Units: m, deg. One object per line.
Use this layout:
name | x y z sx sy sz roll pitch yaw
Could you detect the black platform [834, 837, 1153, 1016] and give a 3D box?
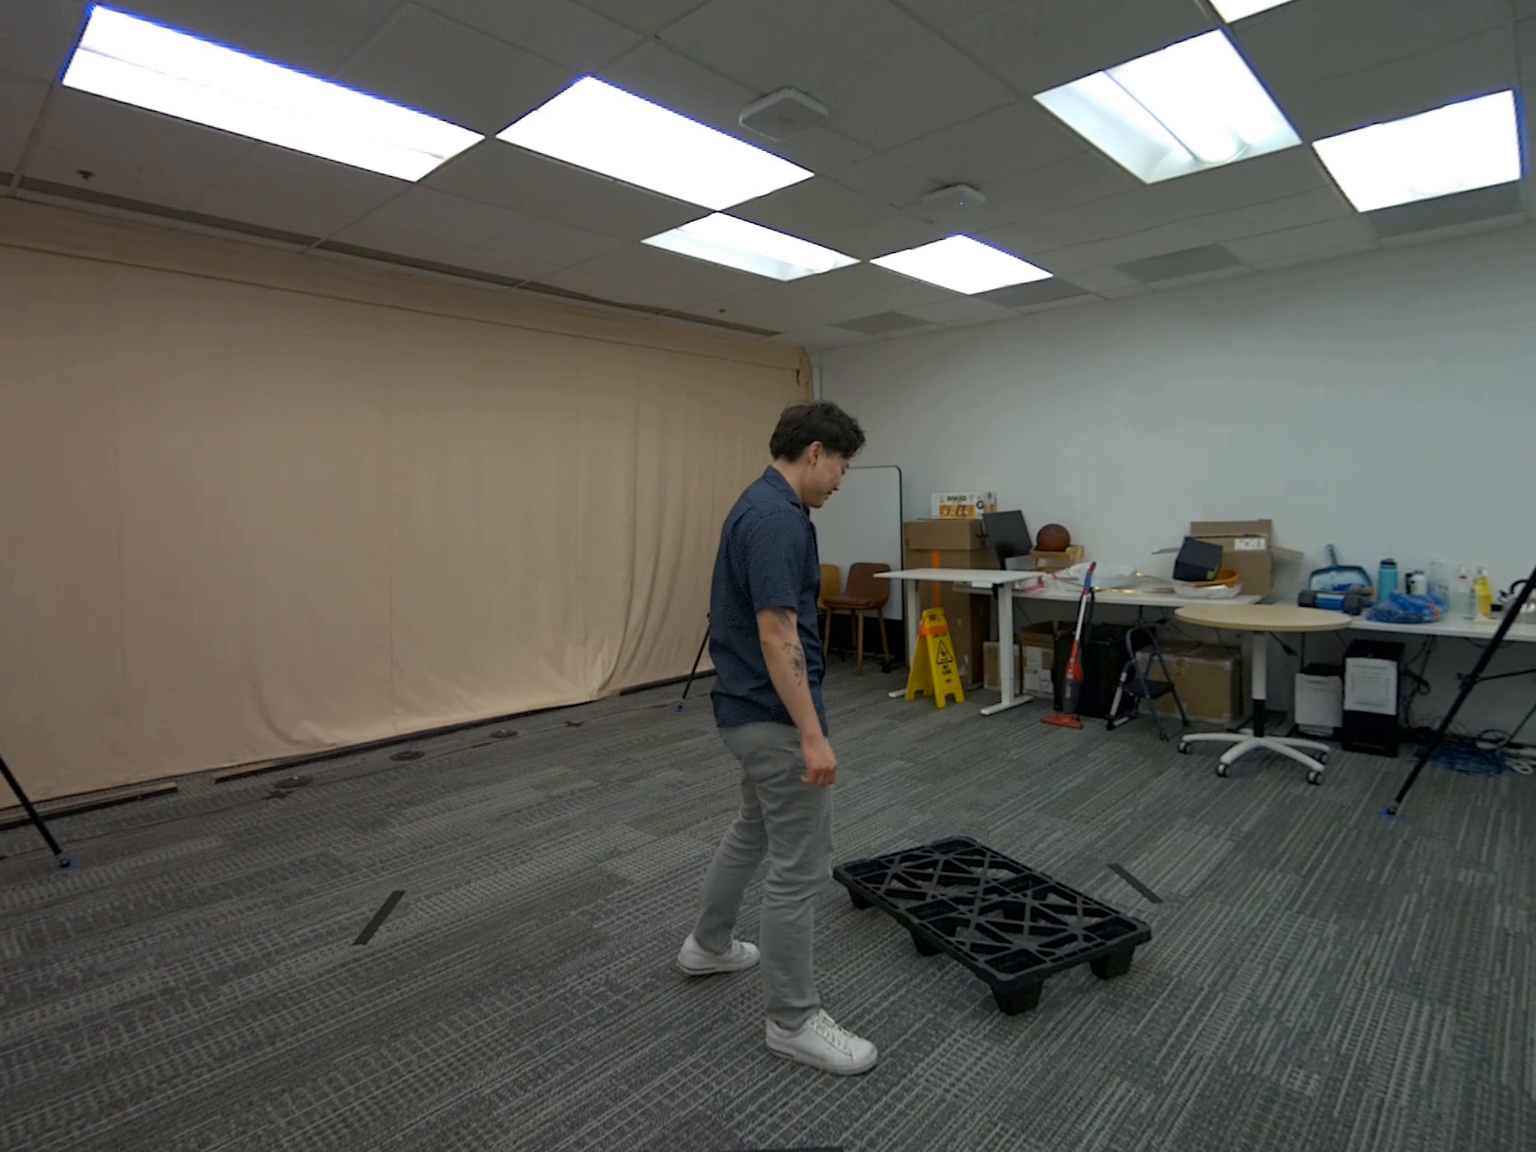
black platform | 0.683 1.085 2.698 0.590 0.143 0.828 -3 5 -28
